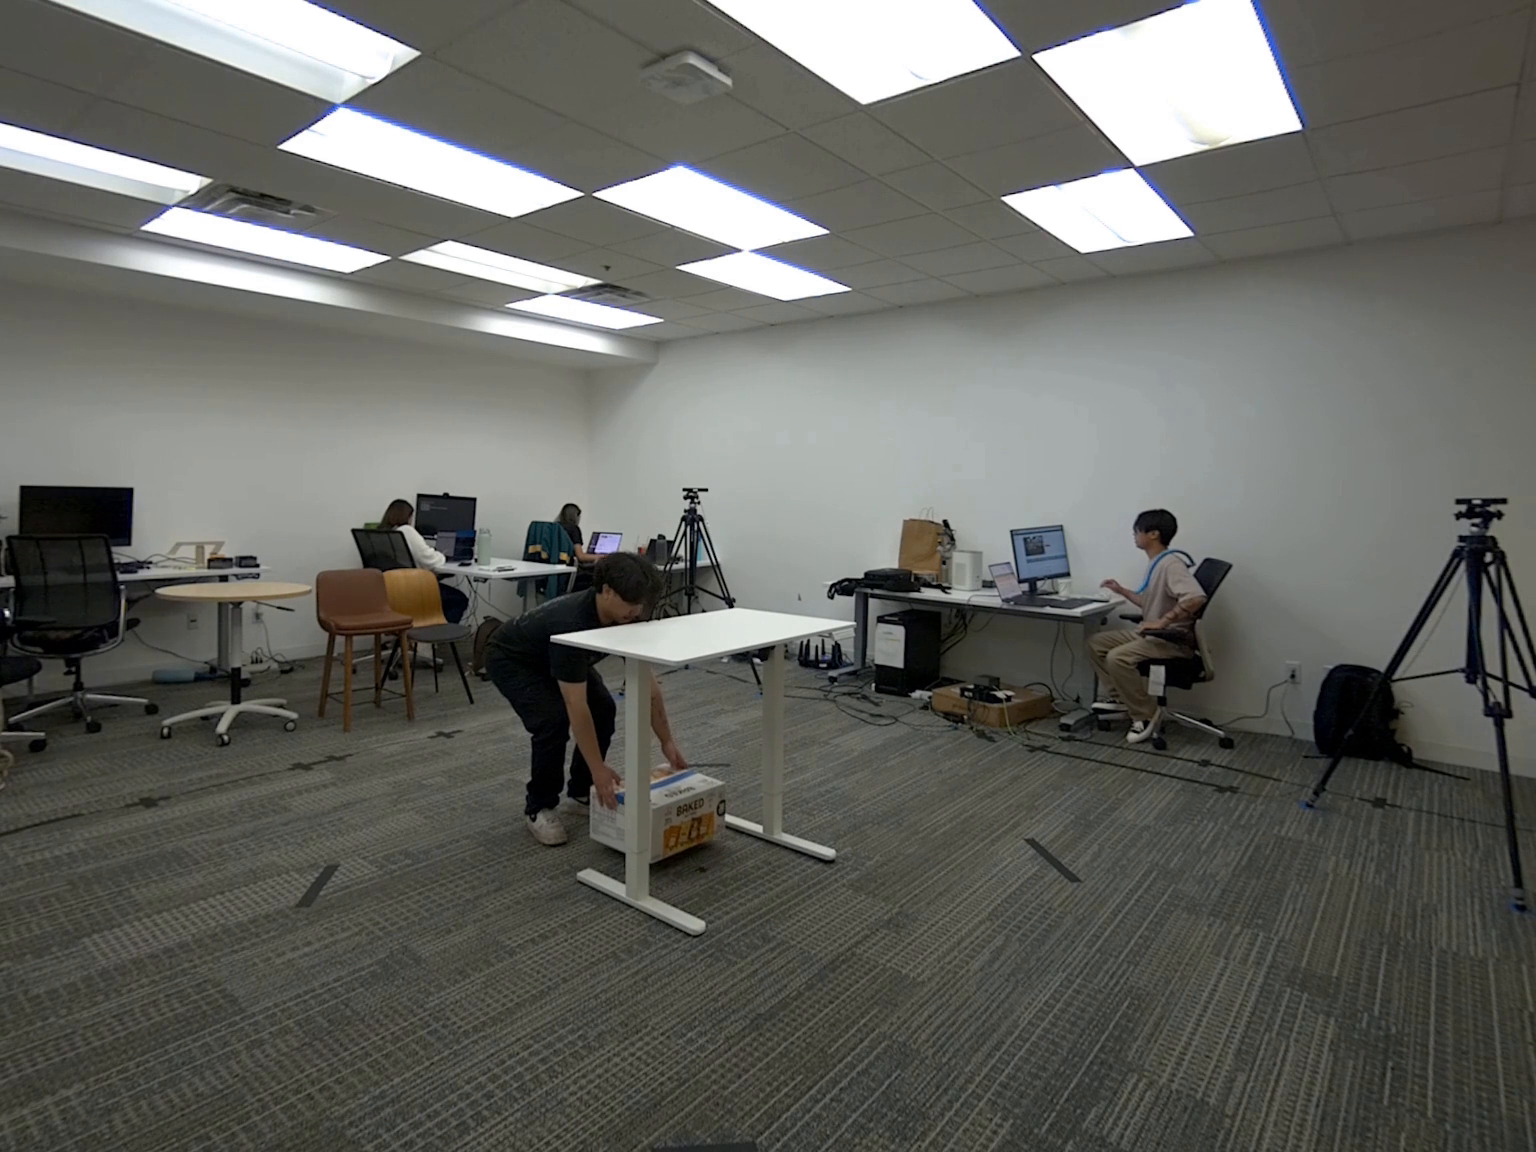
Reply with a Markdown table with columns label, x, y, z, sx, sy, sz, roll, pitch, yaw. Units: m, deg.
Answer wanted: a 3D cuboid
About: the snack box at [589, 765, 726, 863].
| label | x | y | z | sx | sy | sz | roll | pitch | yaw |
| --- | --- | --- | --- | --- | --- | --- | --- | --- | --- |
| snack box | -0.435 | 0.896 | 3.276 | 0.352 | 0.205 | 0.393 | 4 | 5 | 40 |
